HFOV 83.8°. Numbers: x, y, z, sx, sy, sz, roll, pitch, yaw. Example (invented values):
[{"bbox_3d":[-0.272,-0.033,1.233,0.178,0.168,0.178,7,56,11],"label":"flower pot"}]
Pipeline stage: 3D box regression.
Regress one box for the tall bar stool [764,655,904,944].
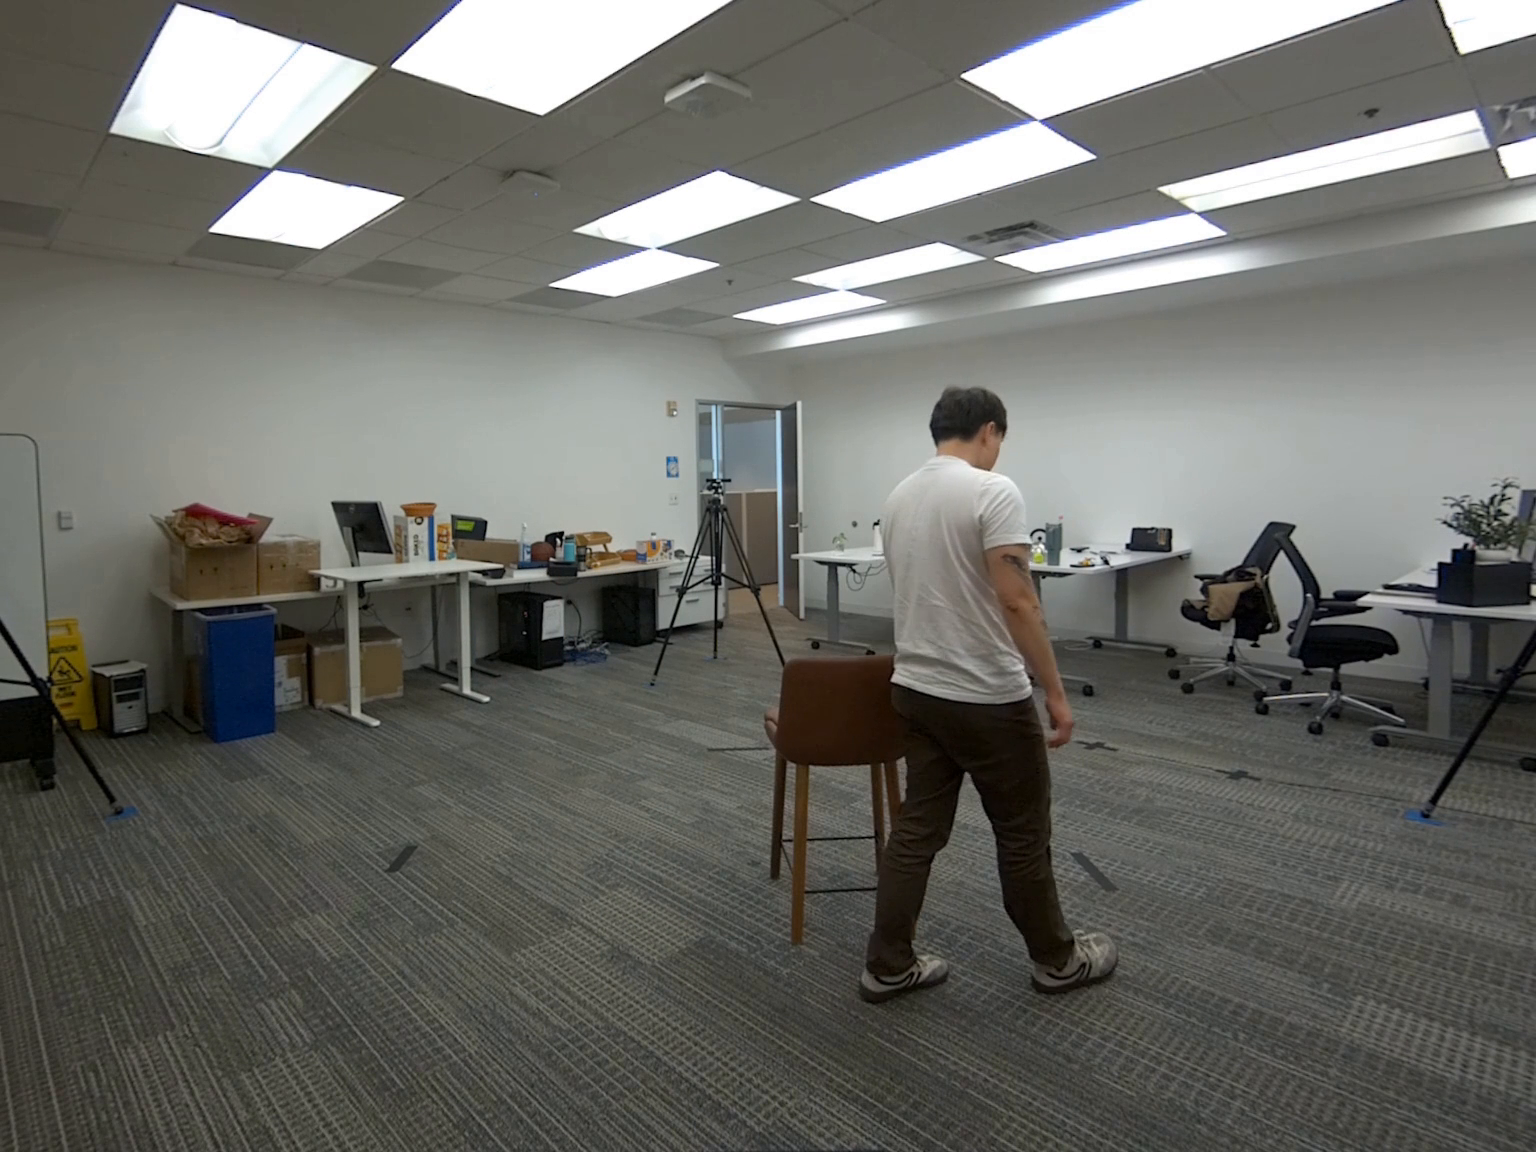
[{"bbox_3d":[0.227,0.645,2.756,0.455,0.885,0.472,-2,6,-5],"label":"tall bar stool"}]
